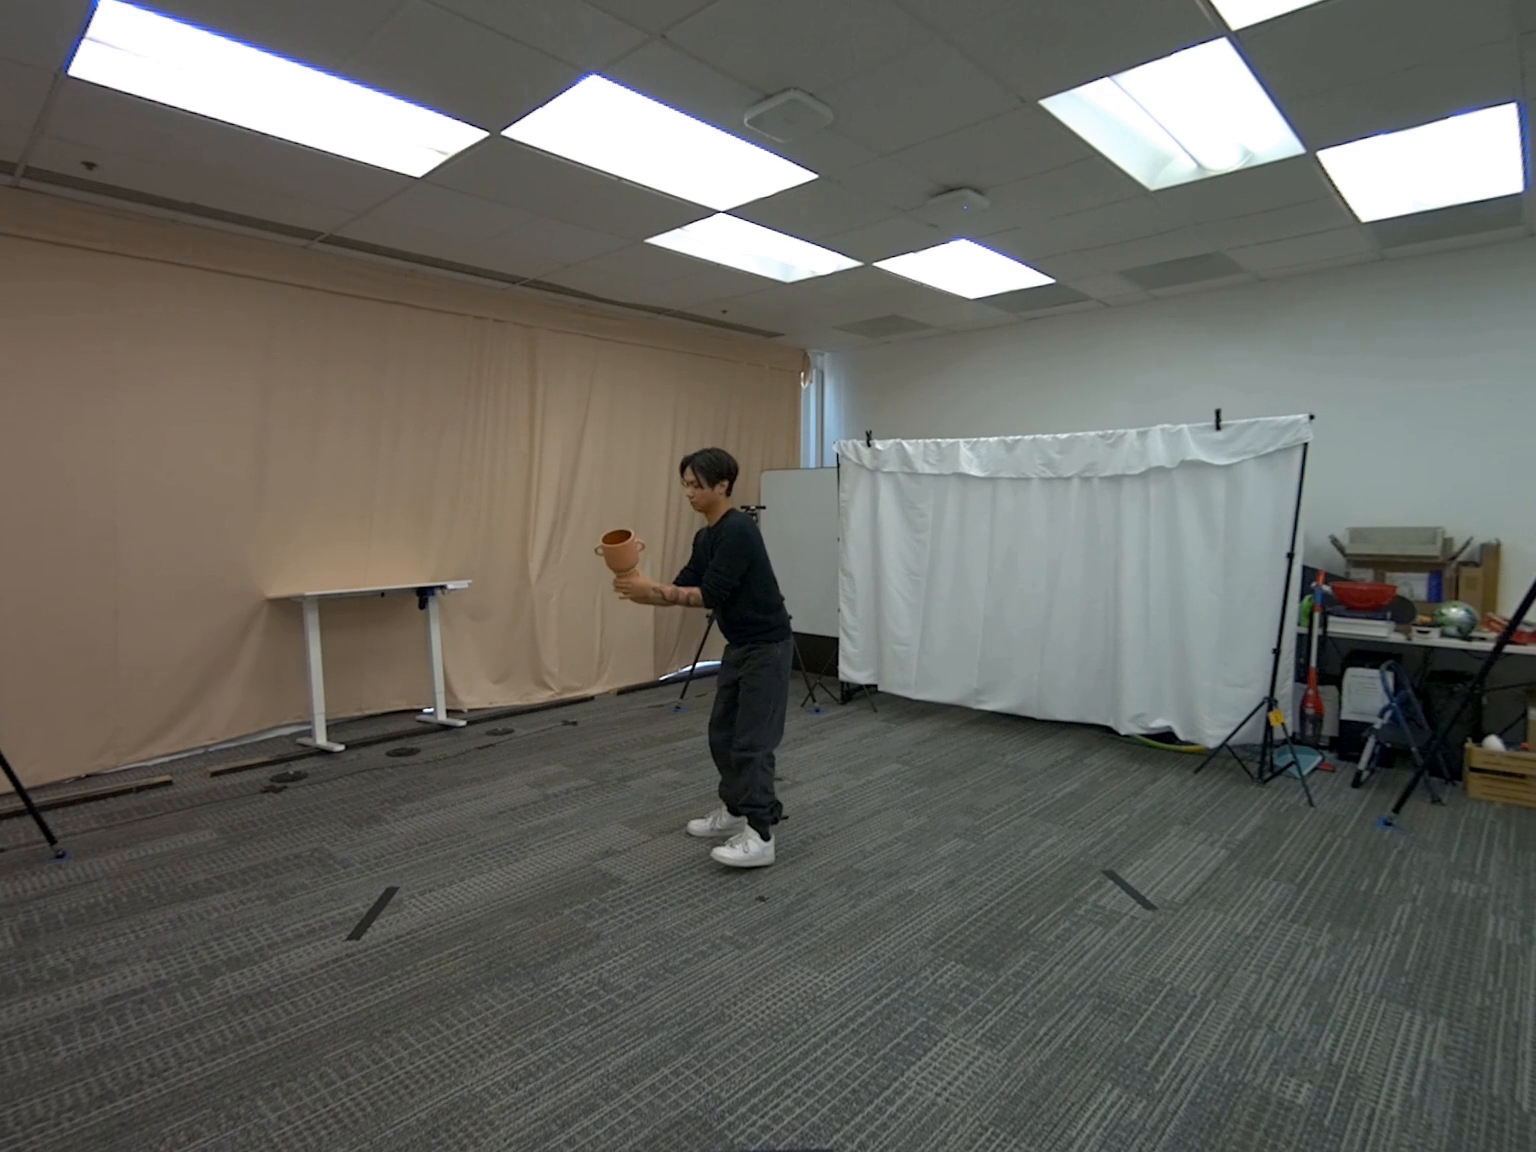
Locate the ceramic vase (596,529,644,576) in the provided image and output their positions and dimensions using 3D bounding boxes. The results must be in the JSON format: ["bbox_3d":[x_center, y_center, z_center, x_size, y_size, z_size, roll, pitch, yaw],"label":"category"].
[{"bbox_3d":[-0.558,-0.056,3.258,0.164,0.215,0.133,16,40,35],"label":"ceramic vase"}]
